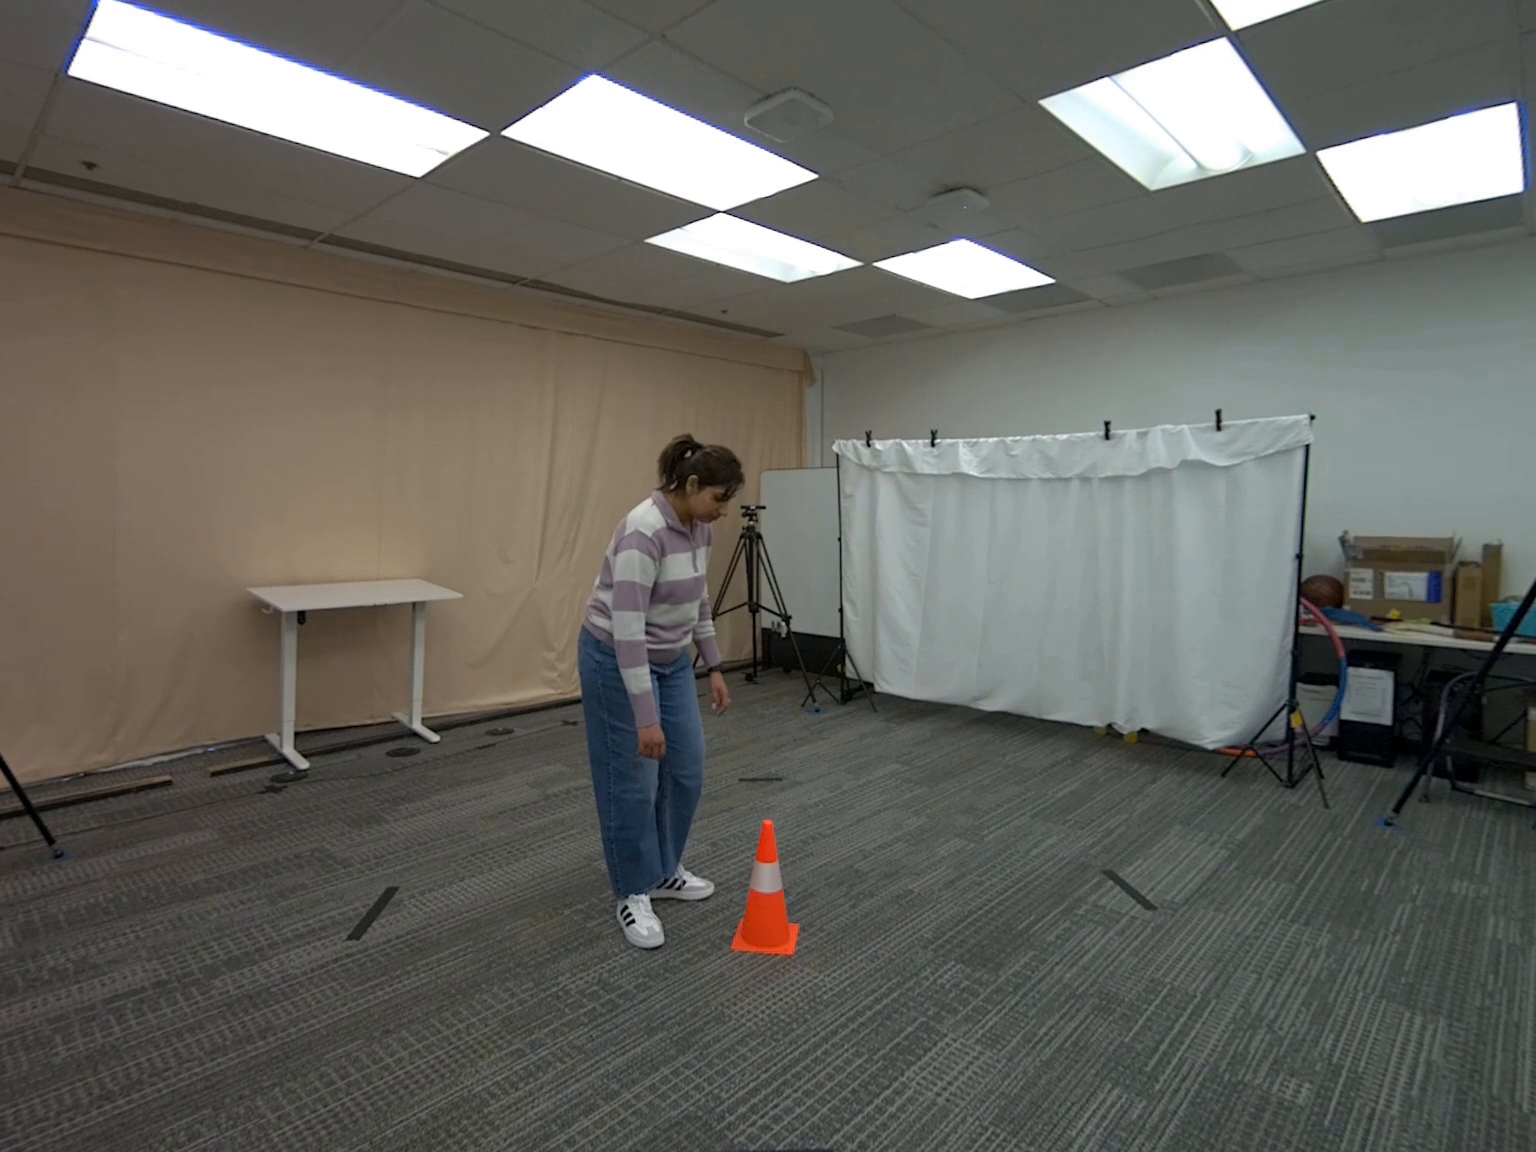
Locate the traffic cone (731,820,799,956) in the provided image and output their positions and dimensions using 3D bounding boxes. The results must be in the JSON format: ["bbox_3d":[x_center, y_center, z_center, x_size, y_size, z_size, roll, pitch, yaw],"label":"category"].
[{"bbox_3d":[-0.009,0.981,2.709,0.208,0.383,0.201,1,3,11],"label":"traffic cone"}]
